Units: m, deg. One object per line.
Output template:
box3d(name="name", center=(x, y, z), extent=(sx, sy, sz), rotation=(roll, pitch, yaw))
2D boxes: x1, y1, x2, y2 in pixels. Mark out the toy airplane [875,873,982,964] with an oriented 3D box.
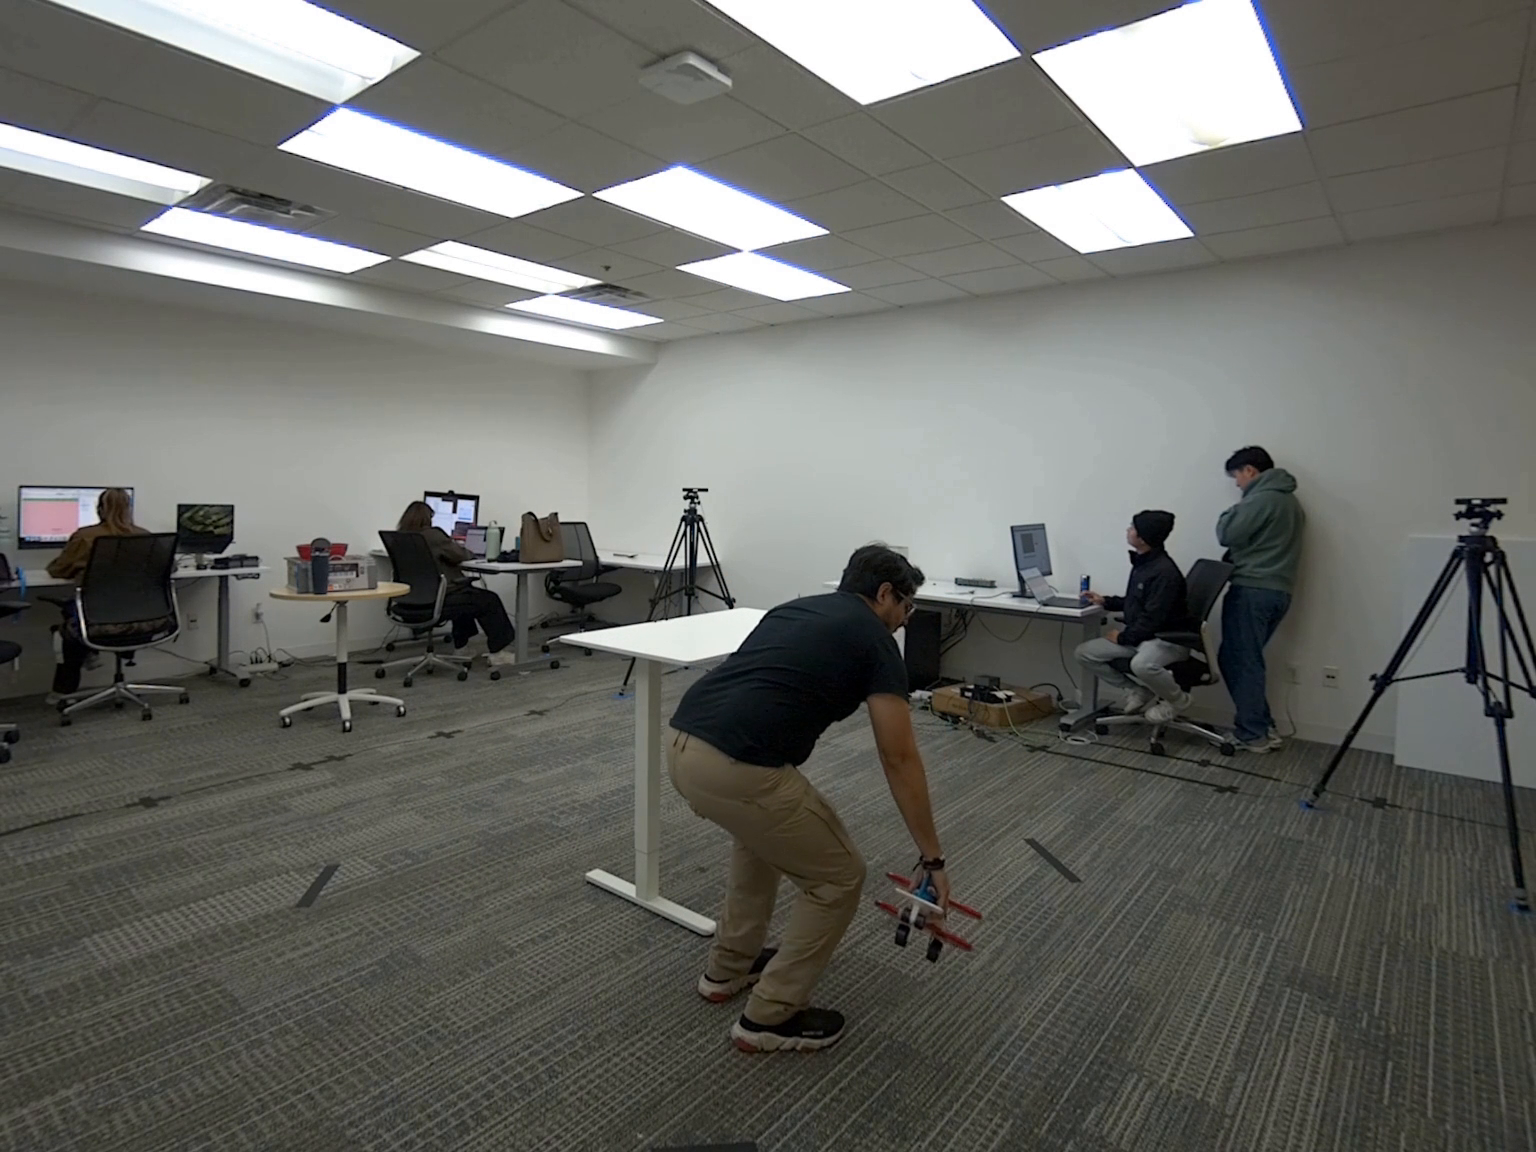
box3d(name="toy airplane", center=(0.406, 0.854, 2.133), extent=(0.253, 0.157, 0.256), rotation=(33, -33, 3))
